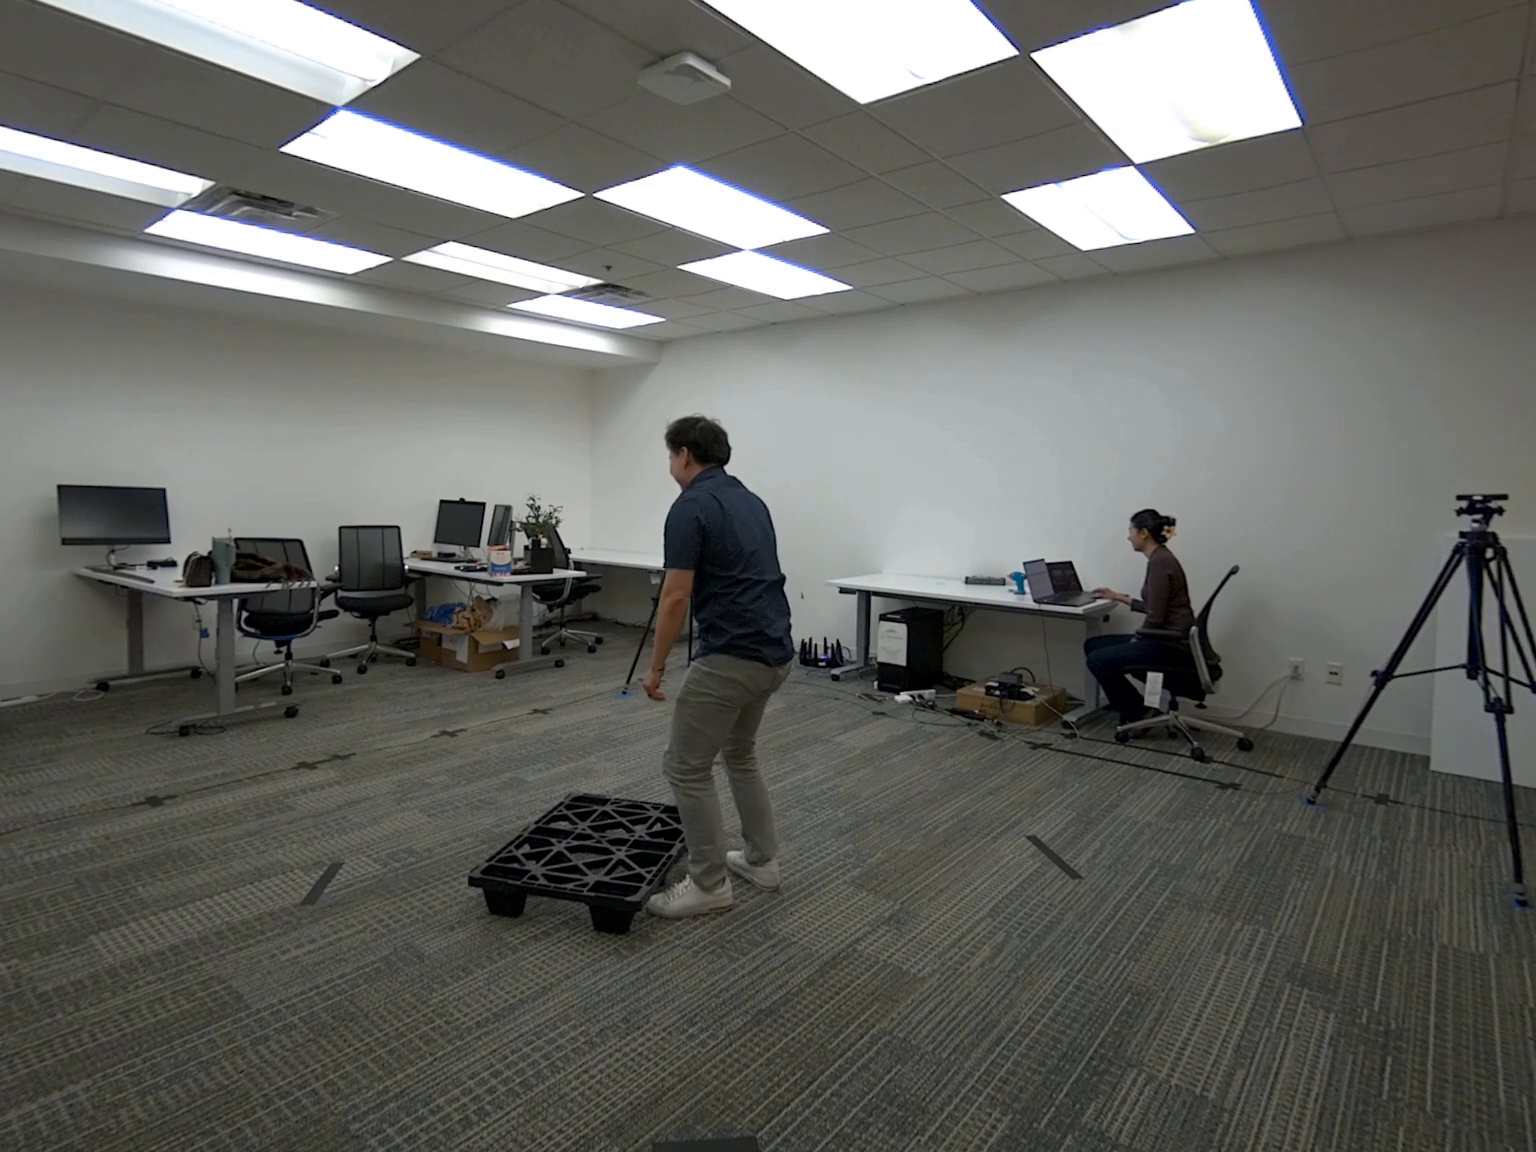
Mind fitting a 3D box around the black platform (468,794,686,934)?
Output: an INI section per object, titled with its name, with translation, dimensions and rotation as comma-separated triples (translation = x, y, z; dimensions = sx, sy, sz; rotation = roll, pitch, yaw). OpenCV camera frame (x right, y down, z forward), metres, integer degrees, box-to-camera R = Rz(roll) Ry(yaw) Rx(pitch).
[black platform]
translation = -0.606, 1.000, 3.041
dimensions = 0.615, 0.143, 0.797
rotation = 2, 6, 13
